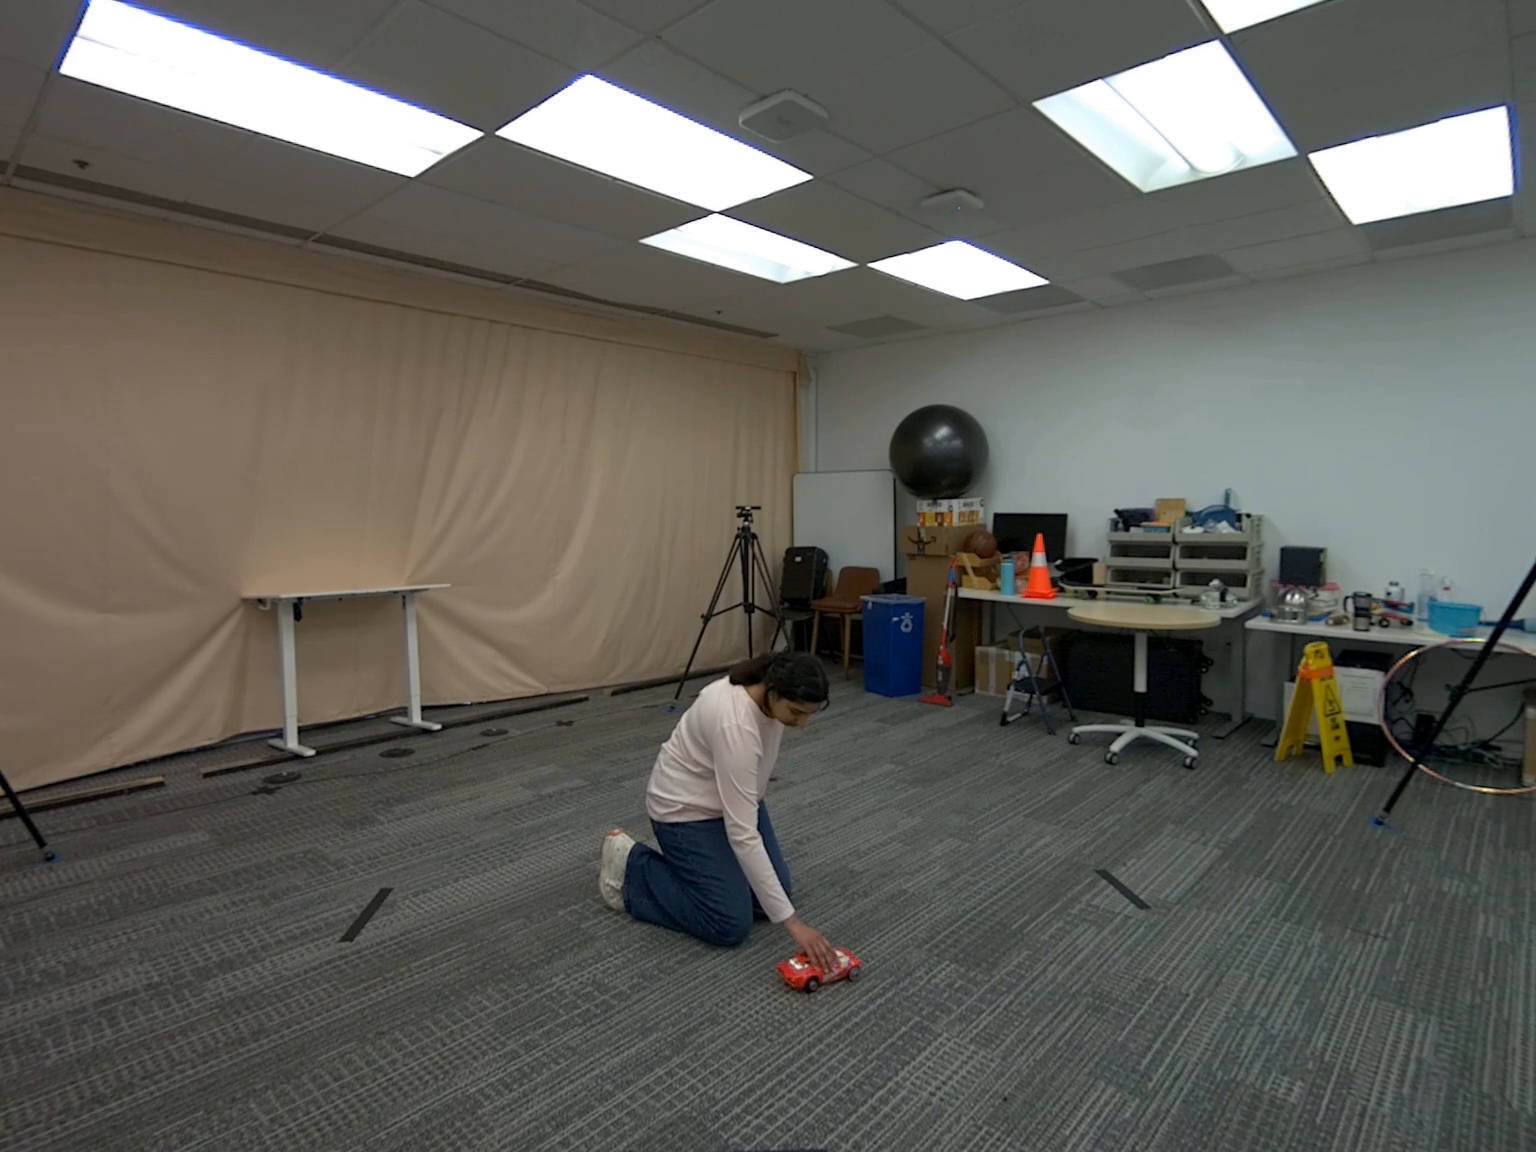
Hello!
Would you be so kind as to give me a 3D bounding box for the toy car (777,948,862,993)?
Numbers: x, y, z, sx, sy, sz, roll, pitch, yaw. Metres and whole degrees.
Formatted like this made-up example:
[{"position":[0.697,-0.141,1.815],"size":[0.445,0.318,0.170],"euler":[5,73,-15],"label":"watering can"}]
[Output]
[{"position":[0.147,1.157,2.473],"size":[0.248,0.083,0.134],"euler":[10,0,-26],"label":"toy car"}]
